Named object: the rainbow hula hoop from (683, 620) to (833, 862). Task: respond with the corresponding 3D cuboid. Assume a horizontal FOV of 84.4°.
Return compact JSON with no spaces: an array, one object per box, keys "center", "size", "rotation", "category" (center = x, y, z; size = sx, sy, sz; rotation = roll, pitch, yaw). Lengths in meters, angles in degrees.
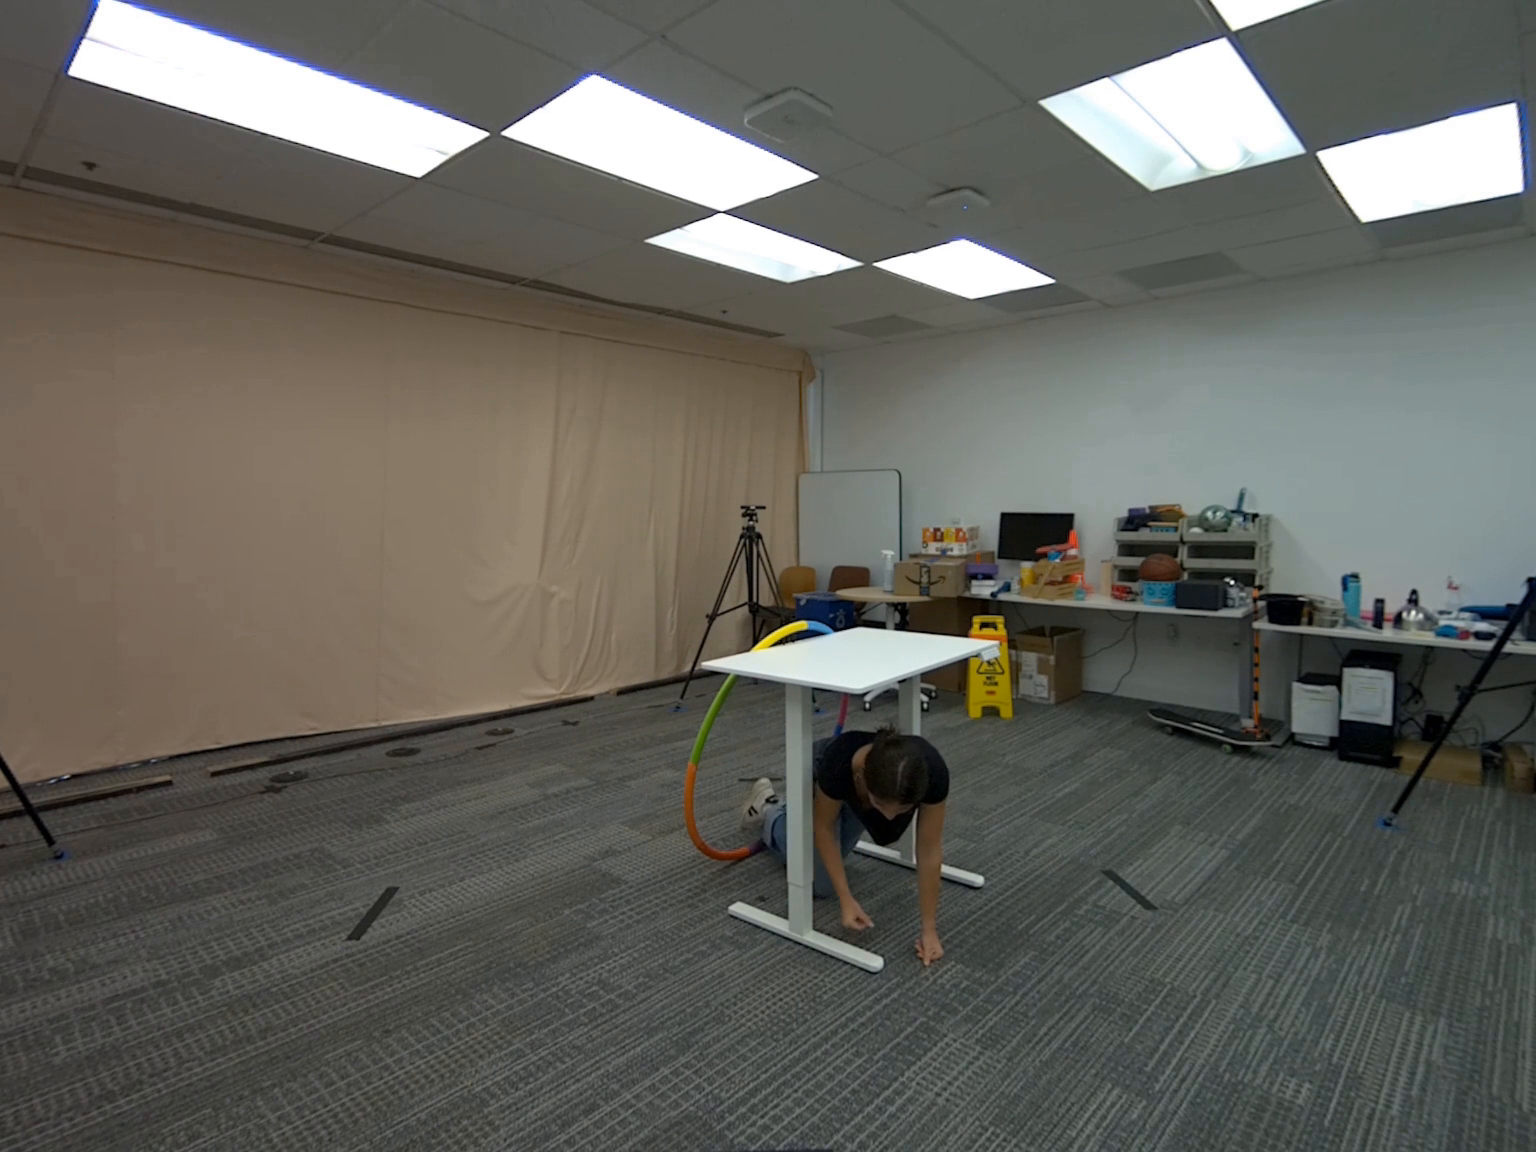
[{"center":[0.034,0.648,3.272],"size":[0.037,0.973,0.949],"rotation":[21,16,36],"category":"rainbow hula hoop"}]
